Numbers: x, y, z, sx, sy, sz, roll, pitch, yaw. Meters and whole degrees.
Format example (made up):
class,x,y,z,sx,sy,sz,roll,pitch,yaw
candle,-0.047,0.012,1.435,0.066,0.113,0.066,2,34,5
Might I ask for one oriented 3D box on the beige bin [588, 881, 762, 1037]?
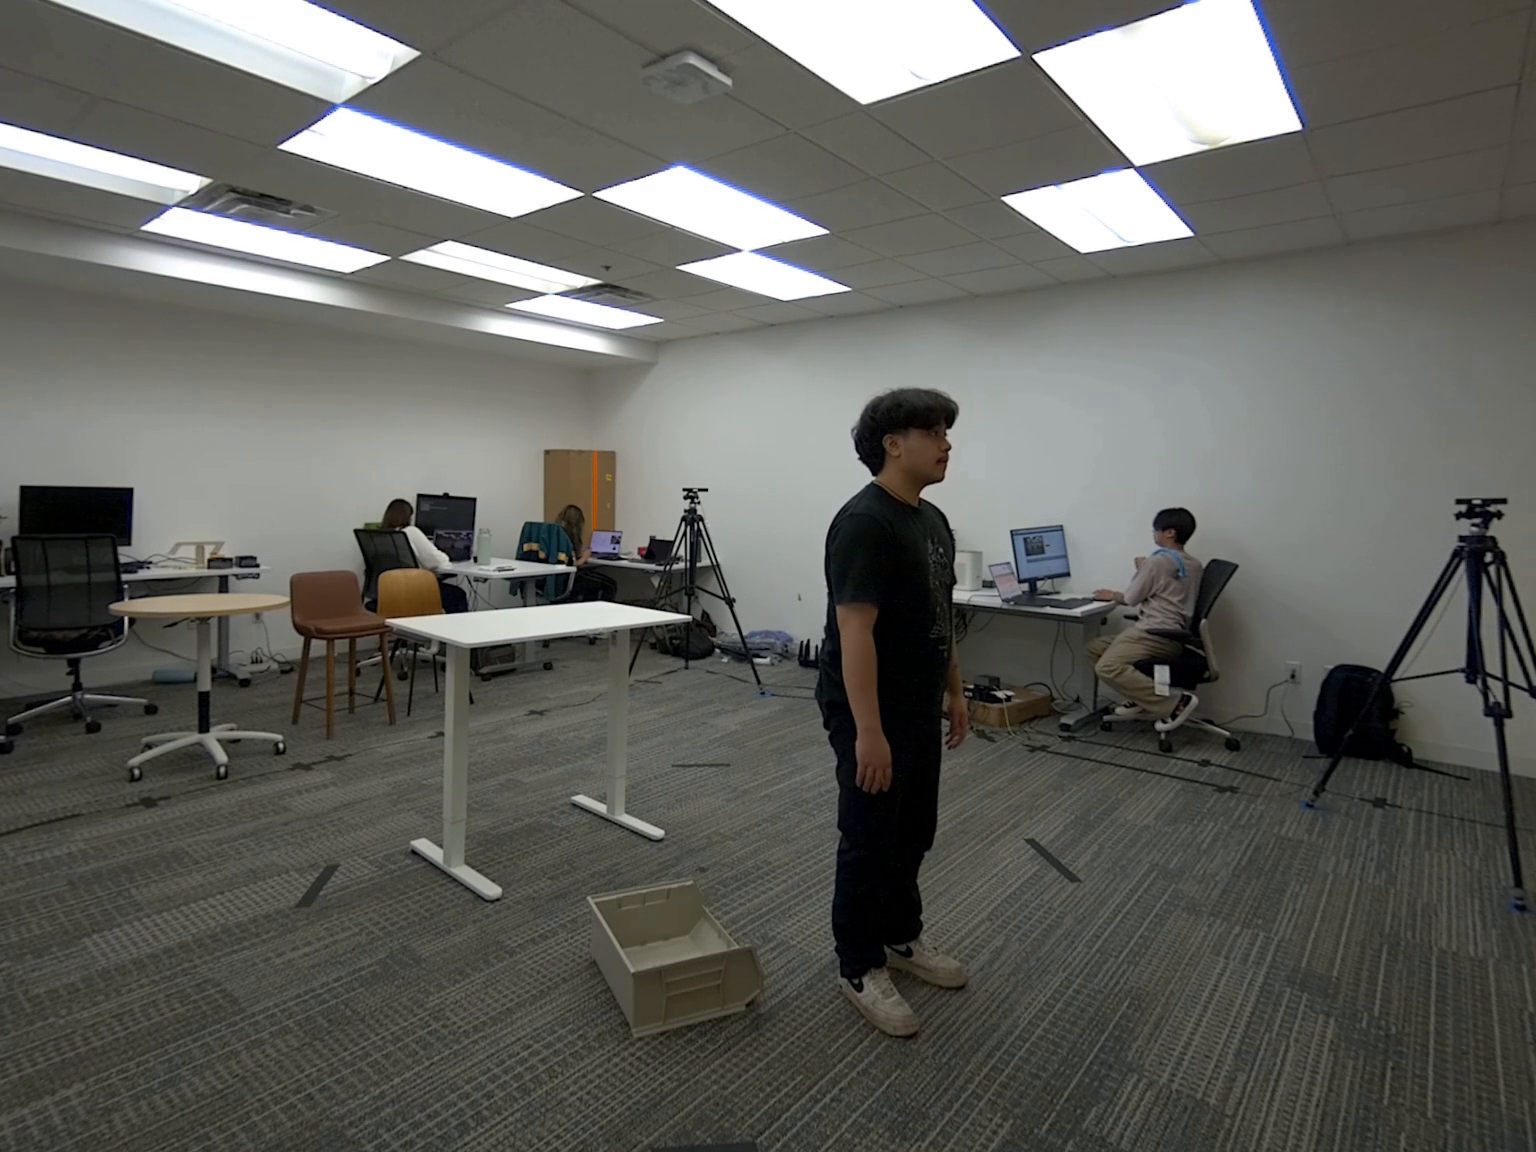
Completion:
class,x,y,z,sx,sy,sz,roll,pitch,yaw
beige bin,-0.276,1.051,2.400,0.368,0.188,0.435,-2,7,-26
